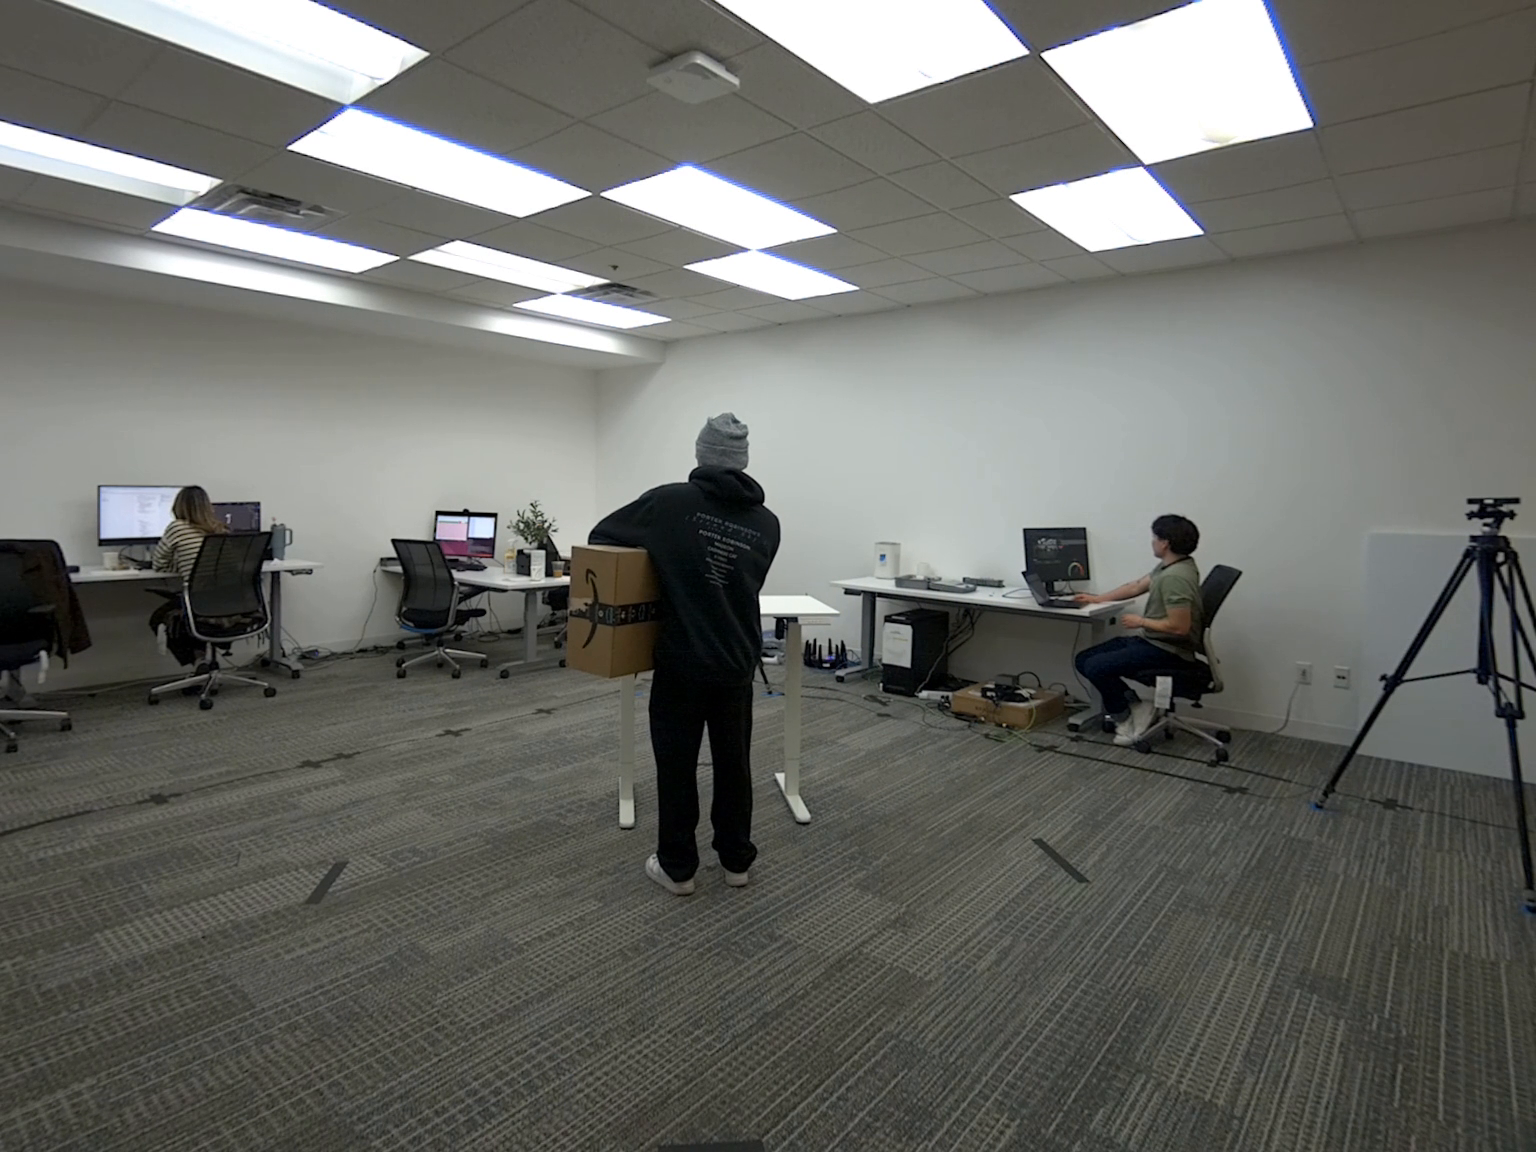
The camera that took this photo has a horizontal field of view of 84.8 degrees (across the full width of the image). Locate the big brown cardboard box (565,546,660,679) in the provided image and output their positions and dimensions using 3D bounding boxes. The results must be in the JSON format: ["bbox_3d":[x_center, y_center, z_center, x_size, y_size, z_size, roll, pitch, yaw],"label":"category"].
[{"bbox_3d":[-0.433,0.100,3.027,0.241,0.416,0.572,7,6,34],"label":"big brown cardboard box"}]
